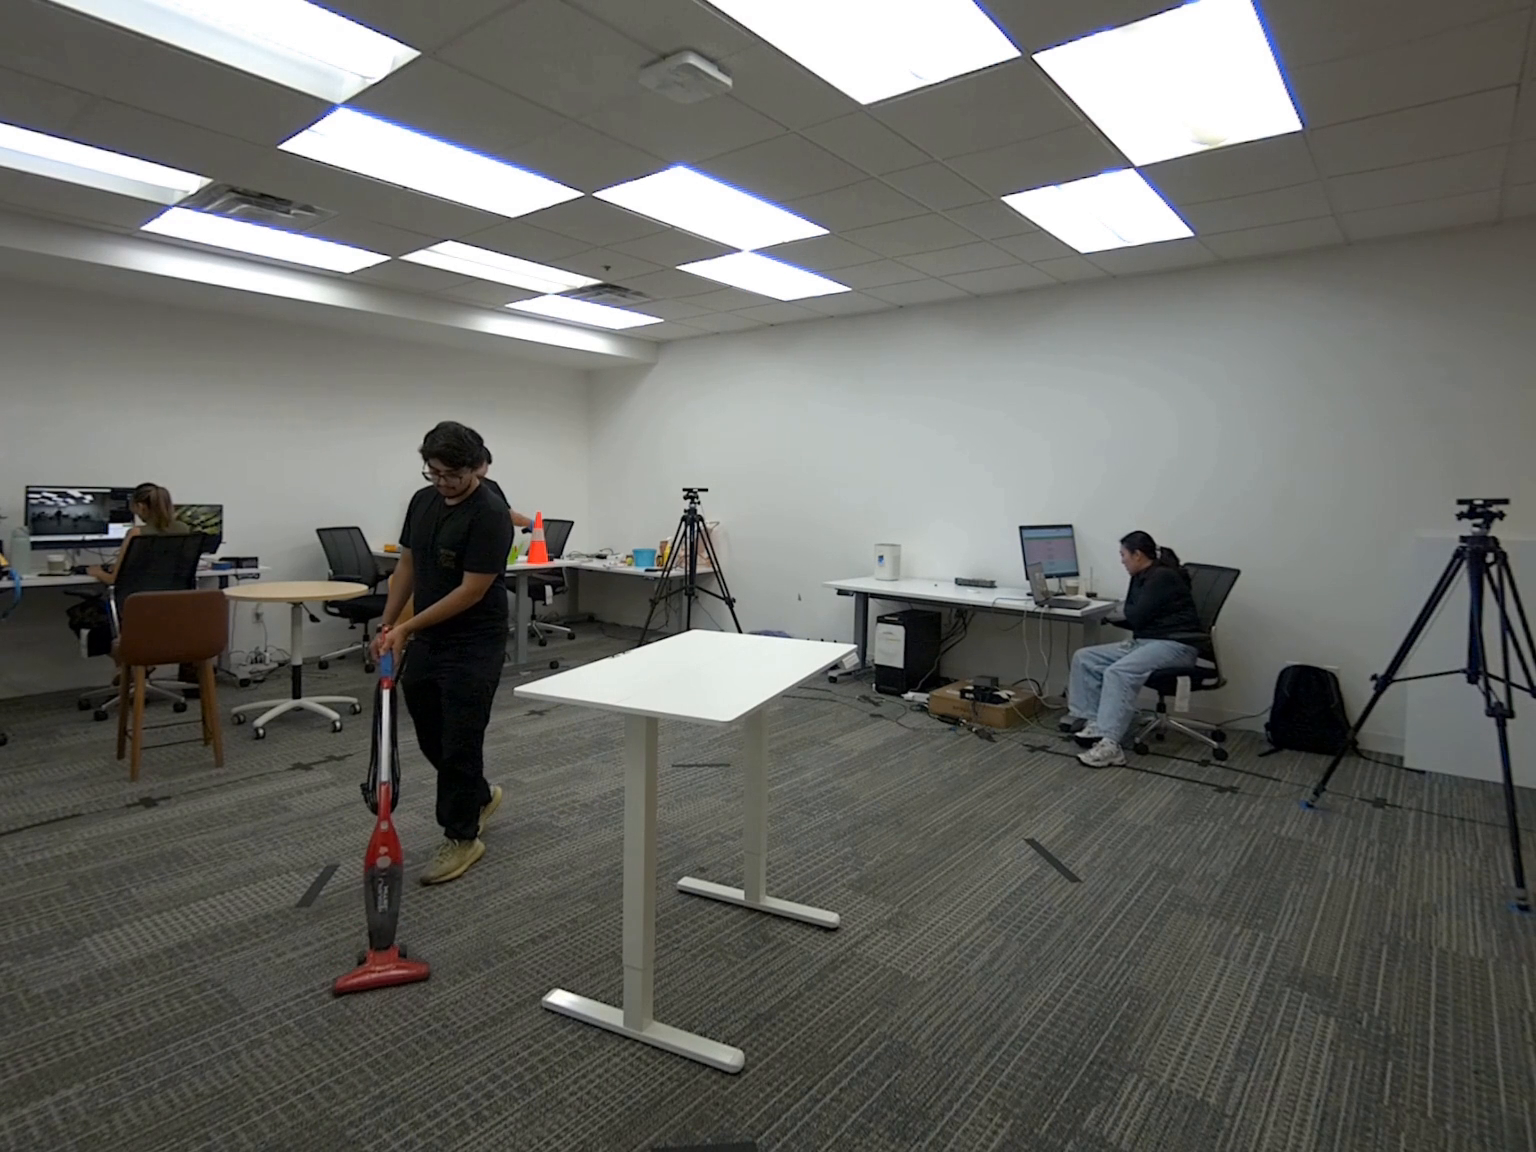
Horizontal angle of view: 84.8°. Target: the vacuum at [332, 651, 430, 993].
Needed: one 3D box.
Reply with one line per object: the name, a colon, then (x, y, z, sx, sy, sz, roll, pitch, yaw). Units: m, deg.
vacuum: (-1.209, 0.663, 2.637, 0.246, 1.080, 0.143, 0, -30, -26)
